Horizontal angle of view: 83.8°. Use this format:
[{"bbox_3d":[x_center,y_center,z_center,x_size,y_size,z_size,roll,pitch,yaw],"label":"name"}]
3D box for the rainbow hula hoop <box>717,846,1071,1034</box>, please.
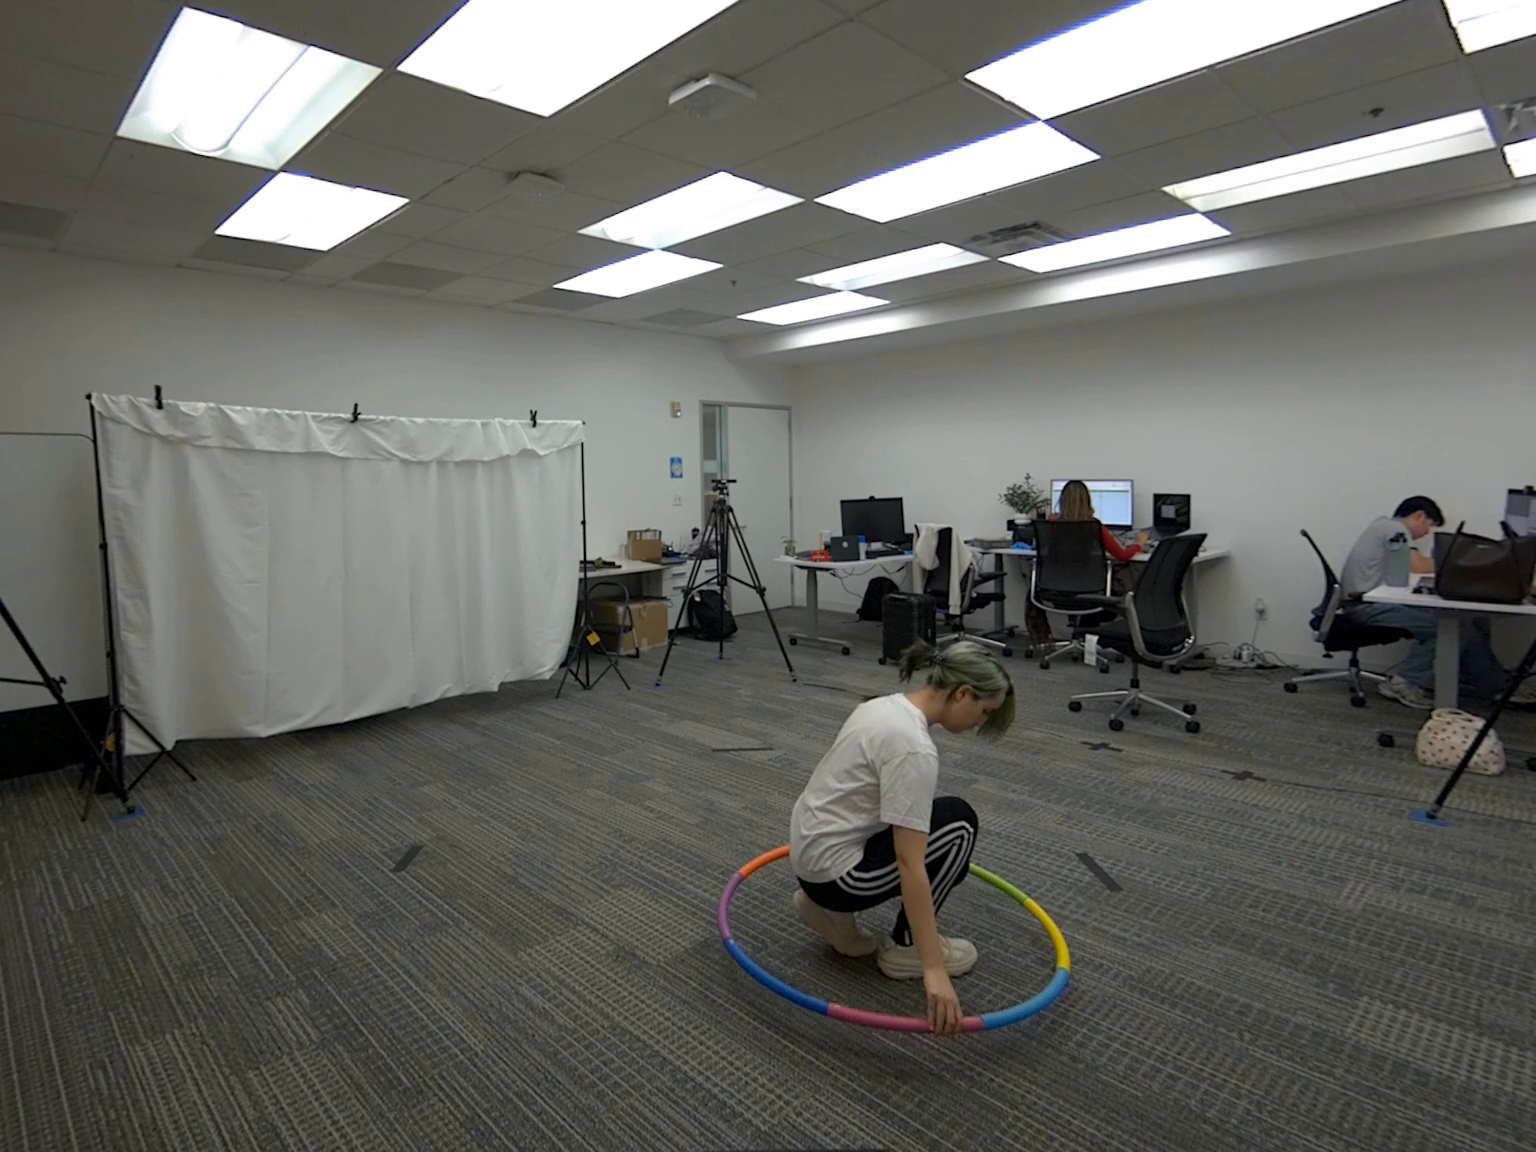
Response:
[{"bbox_3d":[0.351,0.996,2.490,0.984,0.051,0.993,2,8,-2],"label":"rainbow hula hoop"}]
